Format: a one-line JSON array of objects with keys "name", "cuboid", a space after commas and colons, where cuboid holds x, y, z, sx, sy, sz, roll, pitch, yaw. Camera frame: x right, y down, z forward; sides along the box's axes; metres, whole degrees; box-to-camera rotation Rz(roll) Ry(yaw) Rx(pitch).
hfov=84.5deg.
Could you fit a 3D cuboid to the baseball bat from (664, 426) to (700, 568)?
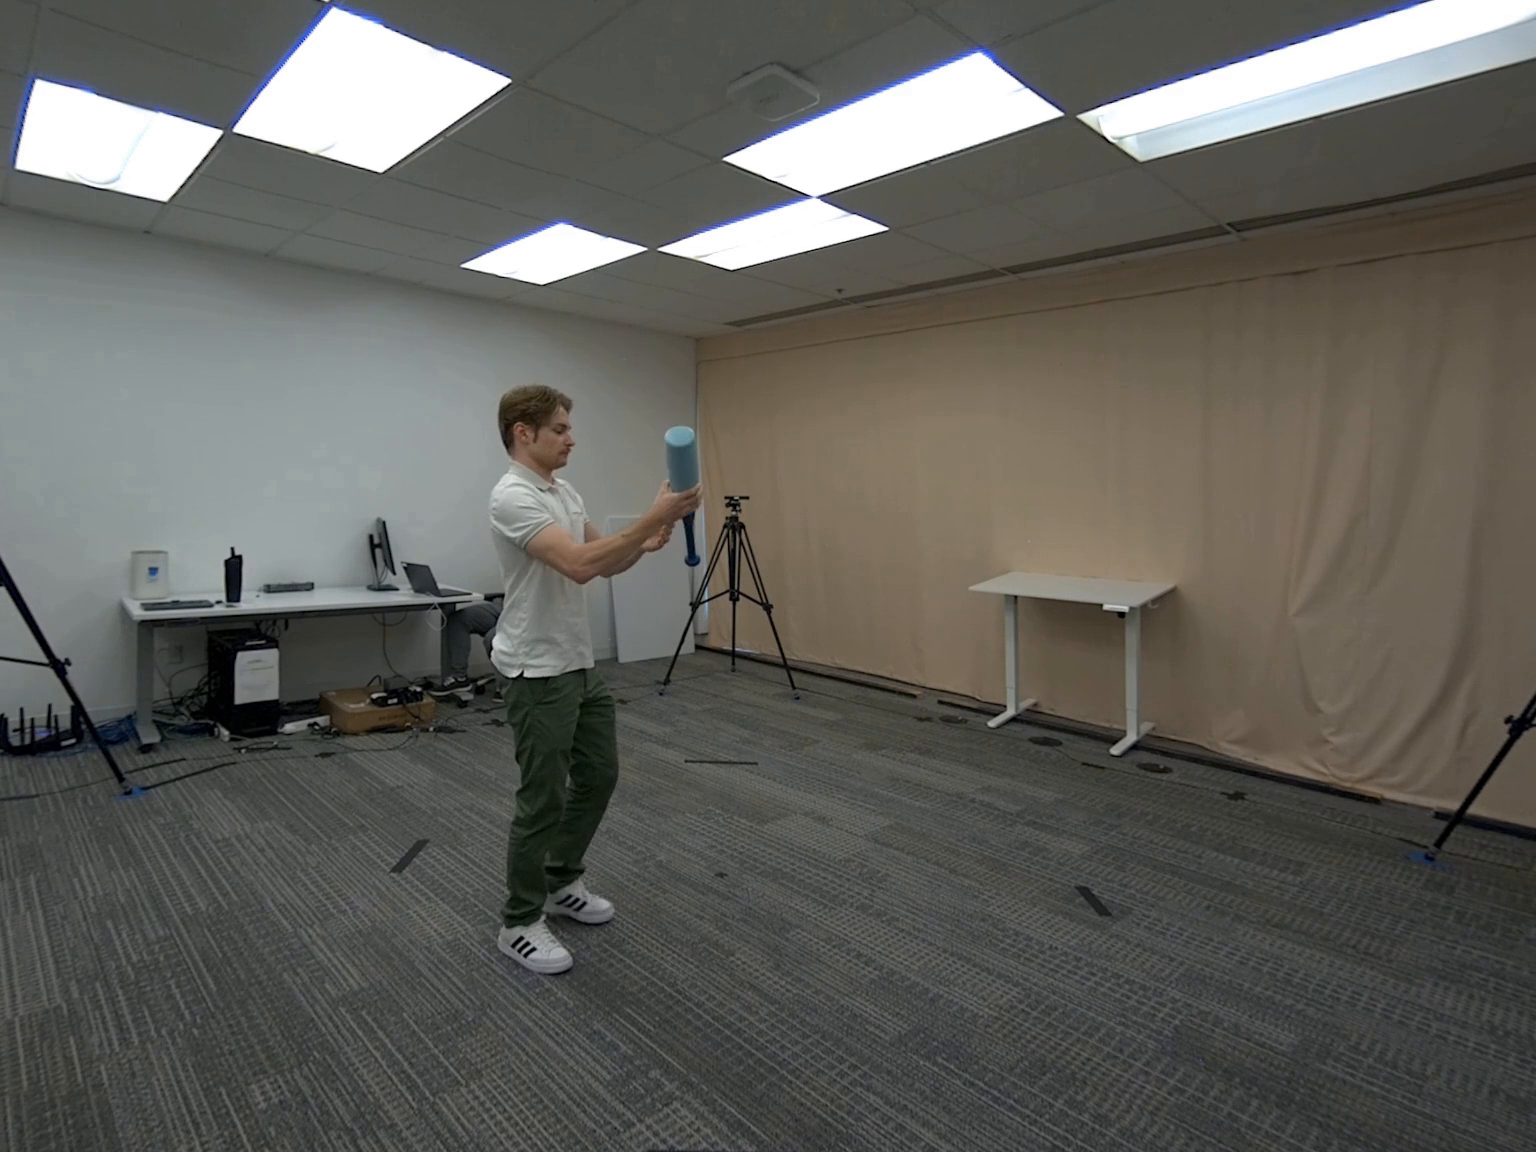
[{"name": "baseball bat", "cuboid": [-0.245, -0.208, 2.446, 0.089, 0.091, 0.531, 2, -39, 3]}]
